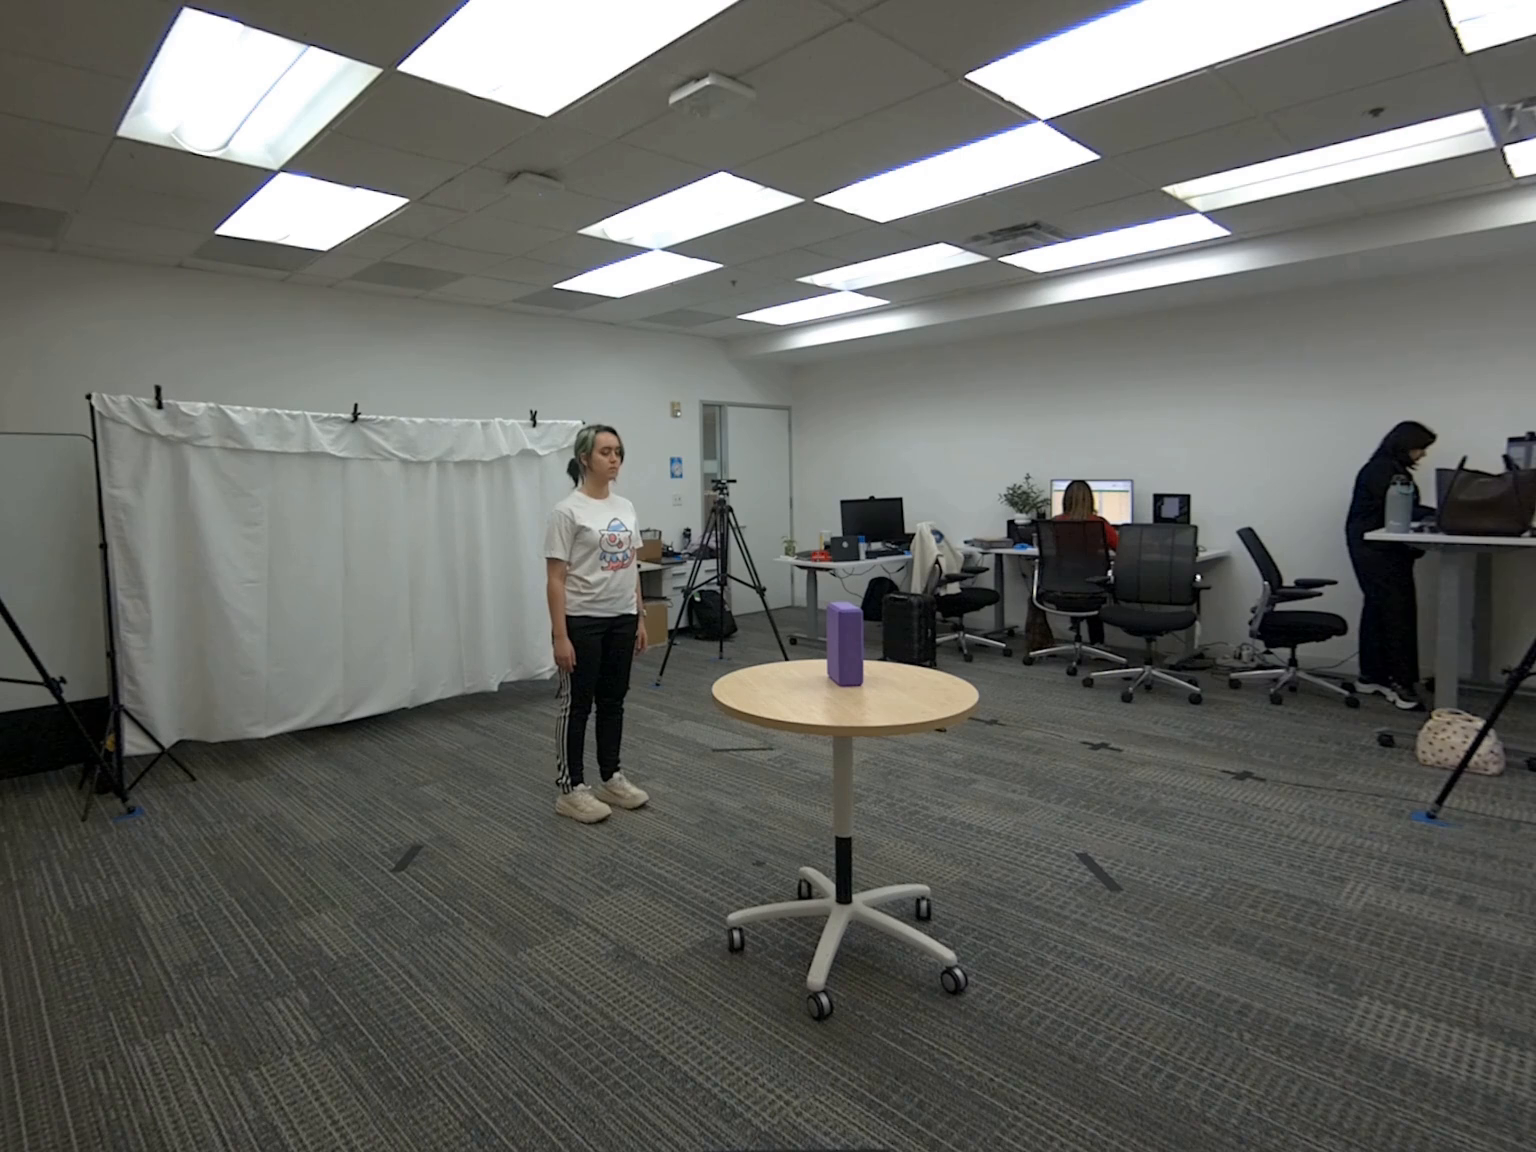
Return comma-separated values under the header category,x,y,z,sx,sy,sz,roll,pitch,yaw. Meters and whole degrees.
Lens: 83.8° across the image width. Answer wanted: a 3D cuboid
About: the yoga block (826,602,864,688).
category,x,y,z,sx,sy,sz,roll,pitch,yaw
yoga block,0.237,0.206,2.567,0.076,0.228,0.151,-1,8,-5
